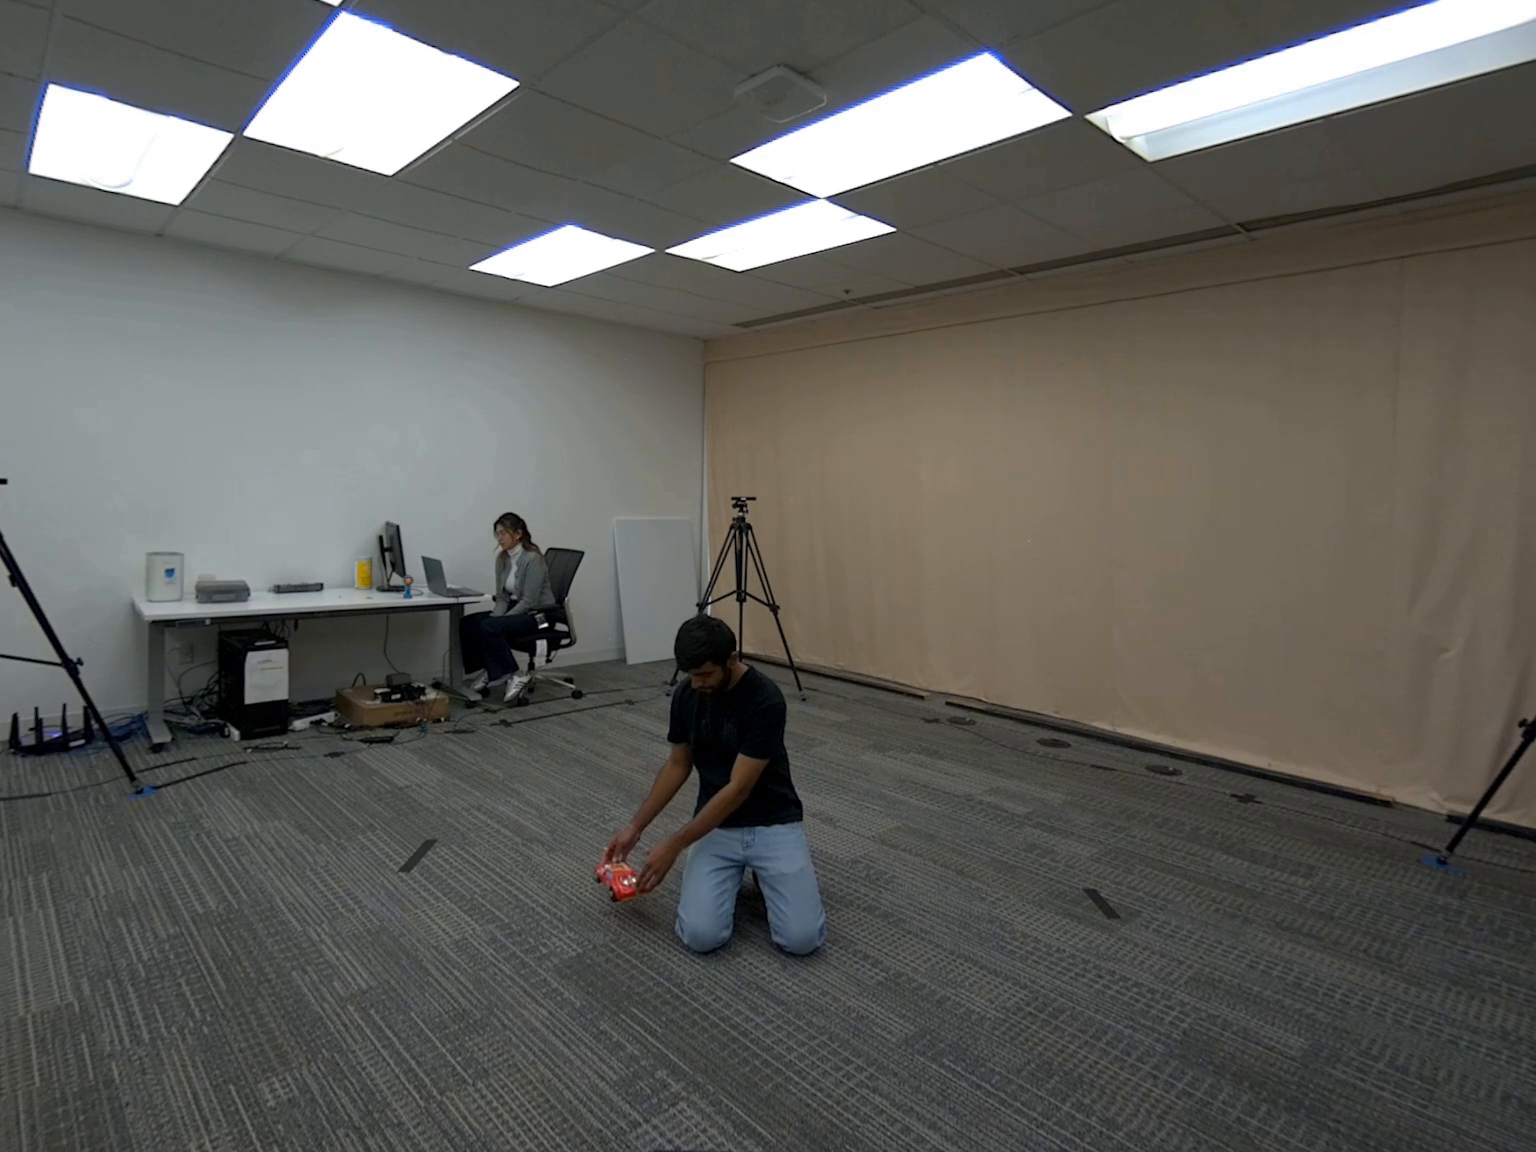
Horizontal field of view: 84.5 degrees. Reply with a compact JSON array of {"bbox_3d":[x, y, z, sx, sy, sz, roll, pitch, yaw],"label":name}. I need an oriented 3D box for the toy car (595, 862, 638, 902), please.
[{"bbox_3d":[-0.481,0.998,2.758,0.128,0.083,0.258,-5,-4,-31],"label":"toy car"}]
